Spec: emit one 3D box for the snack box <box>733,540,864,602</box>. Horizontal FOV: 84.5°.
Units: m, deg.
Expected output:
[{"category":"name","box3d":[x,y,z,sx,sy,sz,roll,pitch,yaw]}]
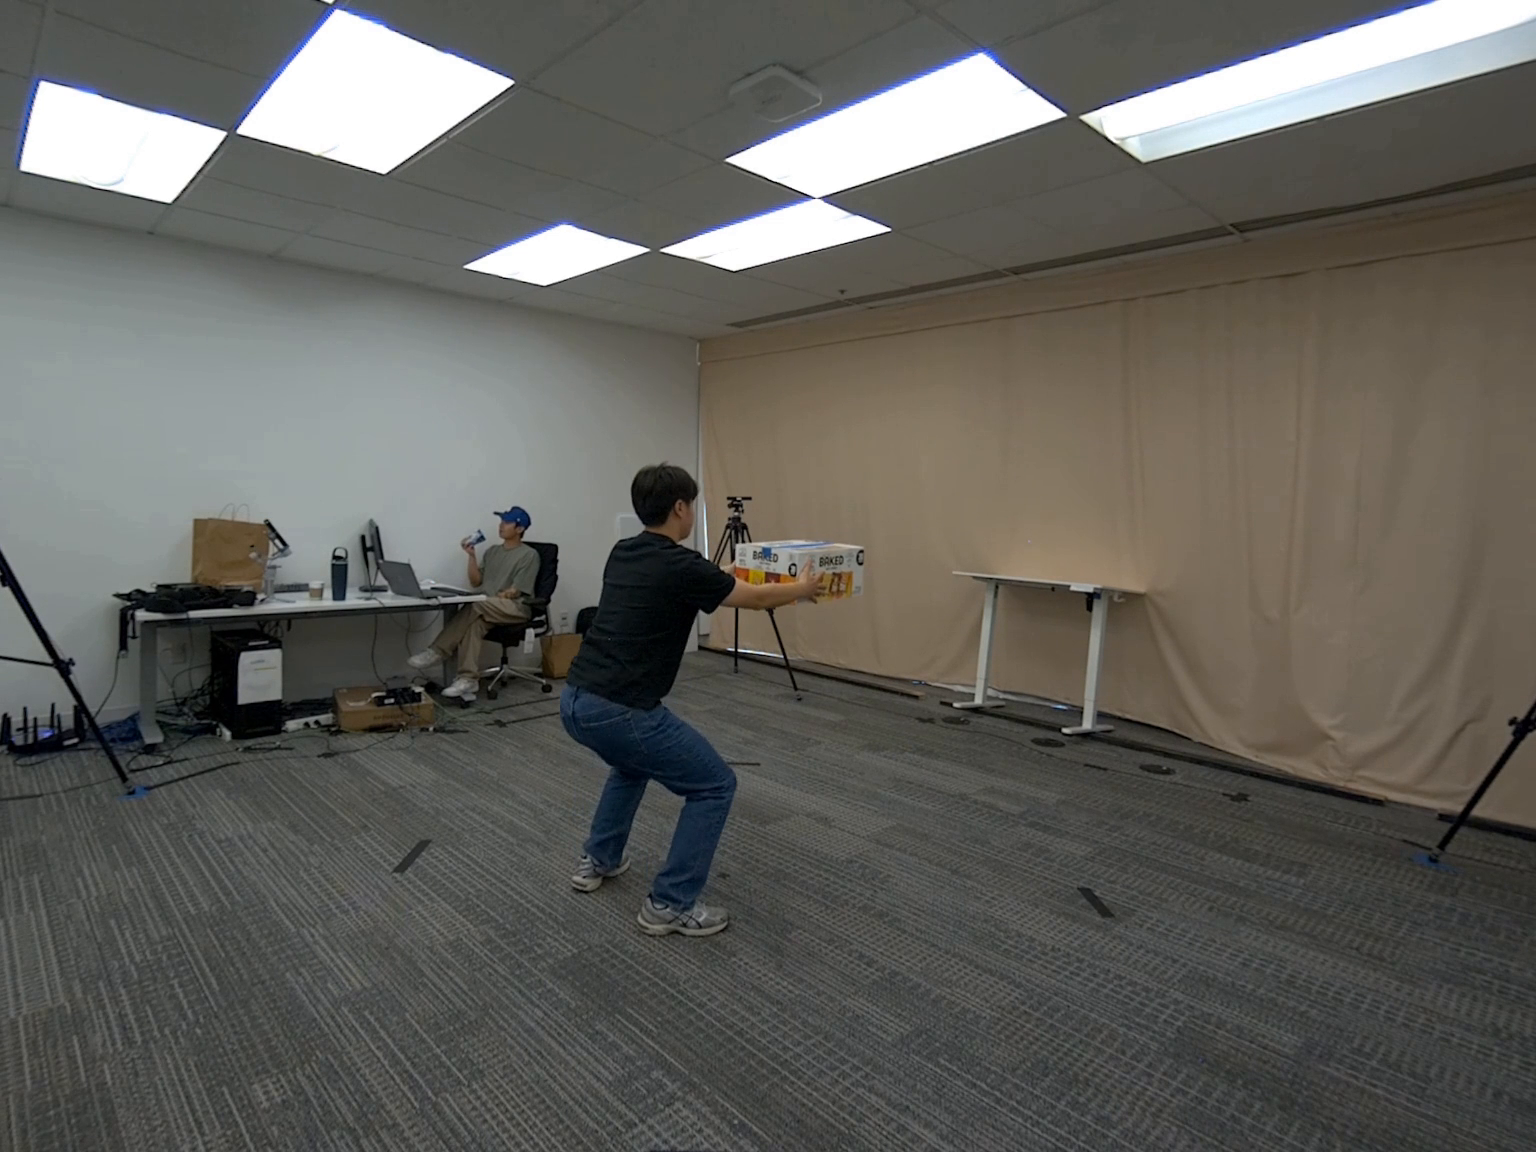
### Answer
[{"category":"snack box","box3d":[0.124,-0.022,3.403,0.396,0.205,0.349,-5,10,-45]}]
